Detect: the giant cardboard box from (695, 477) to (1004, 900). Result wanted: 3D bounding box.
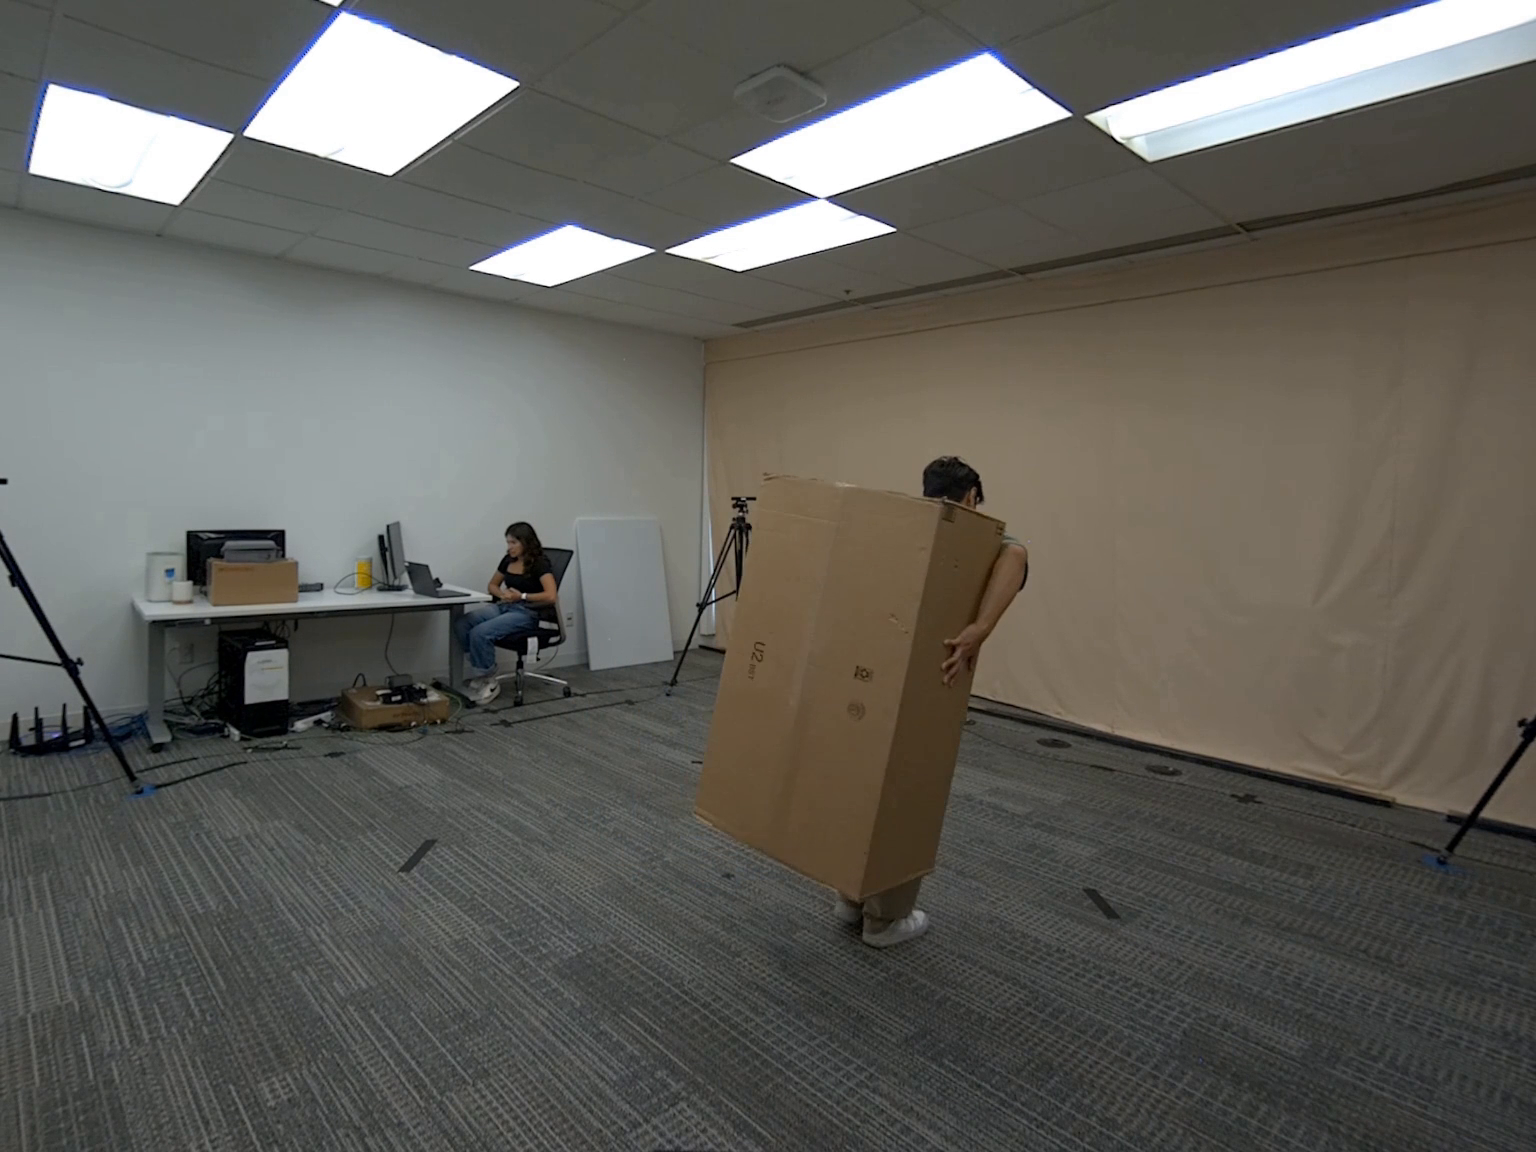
[{"bbox_3d":[0.216,0.277,2.405,0.593,1.025,0.415,12,1,38],"label":"giant cardboard box"}]
